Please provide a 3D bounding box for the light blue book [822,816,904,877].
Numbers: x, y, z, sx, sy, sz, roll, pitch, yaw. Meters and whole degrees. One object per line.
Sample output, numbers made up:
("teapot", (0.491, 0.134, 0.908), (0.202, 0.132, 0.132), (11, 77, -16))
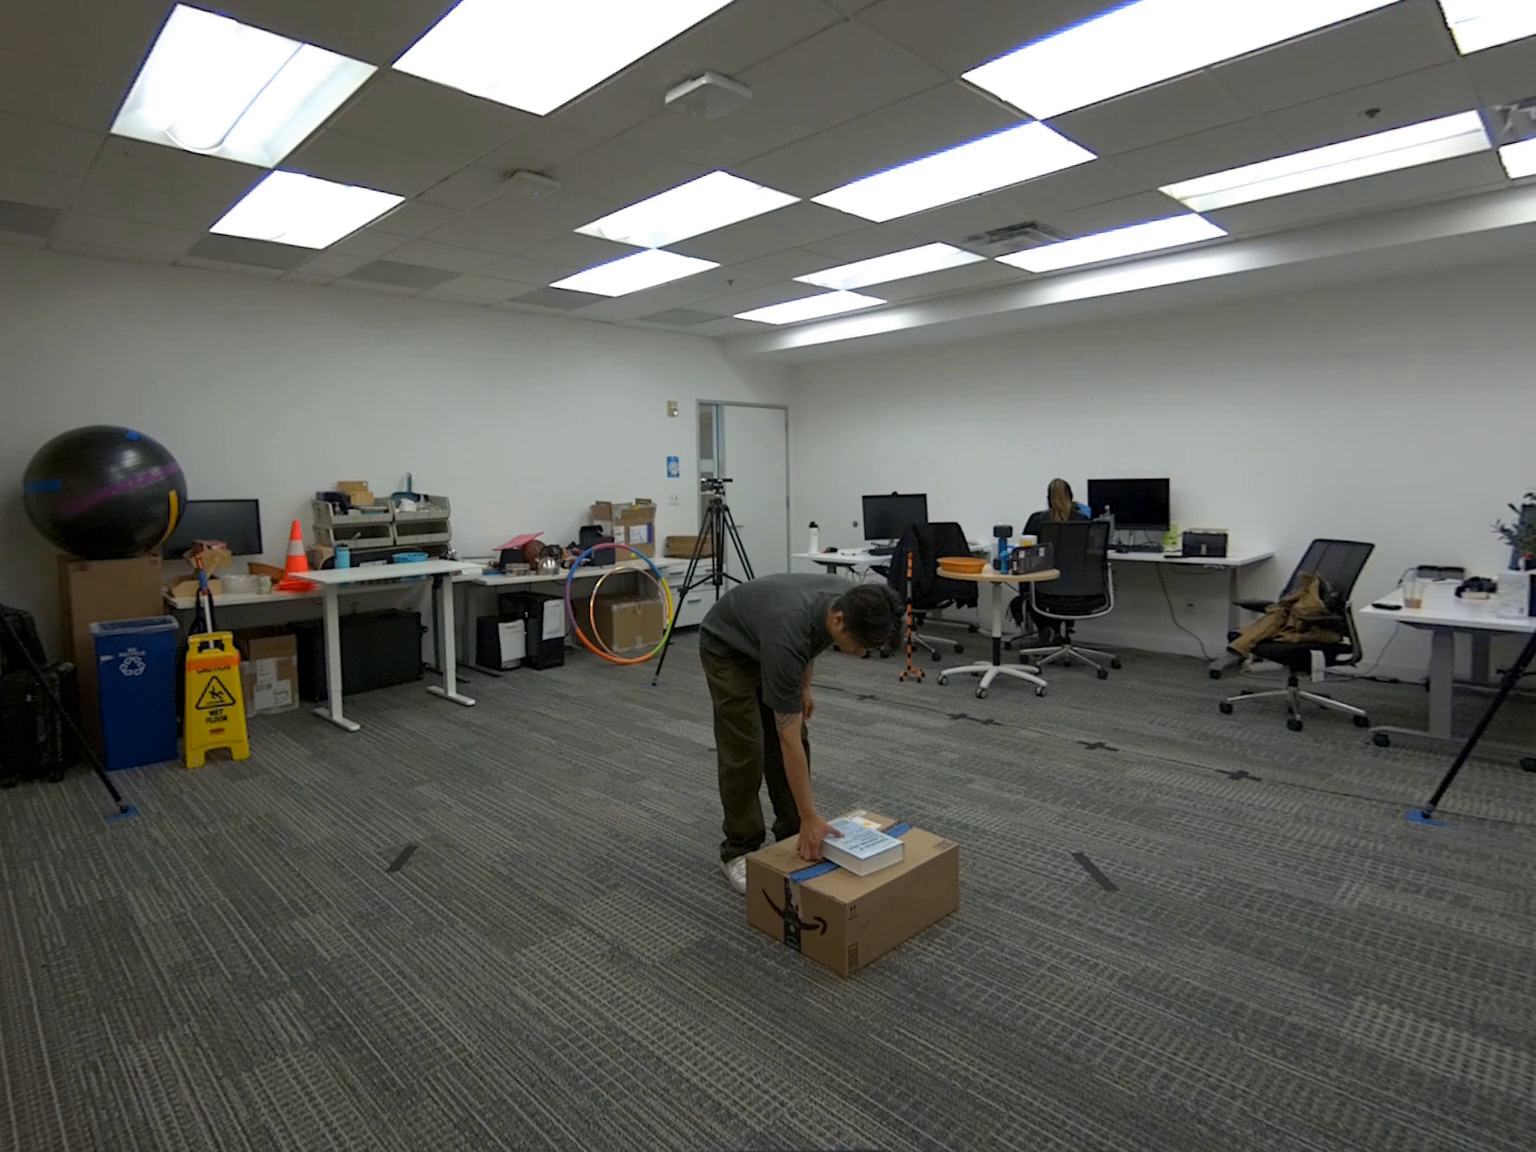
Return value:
("light blue book", (0.284, 0.853, 2.689), (0.186, 0.059, 0.269), (-6, 7, -37))
